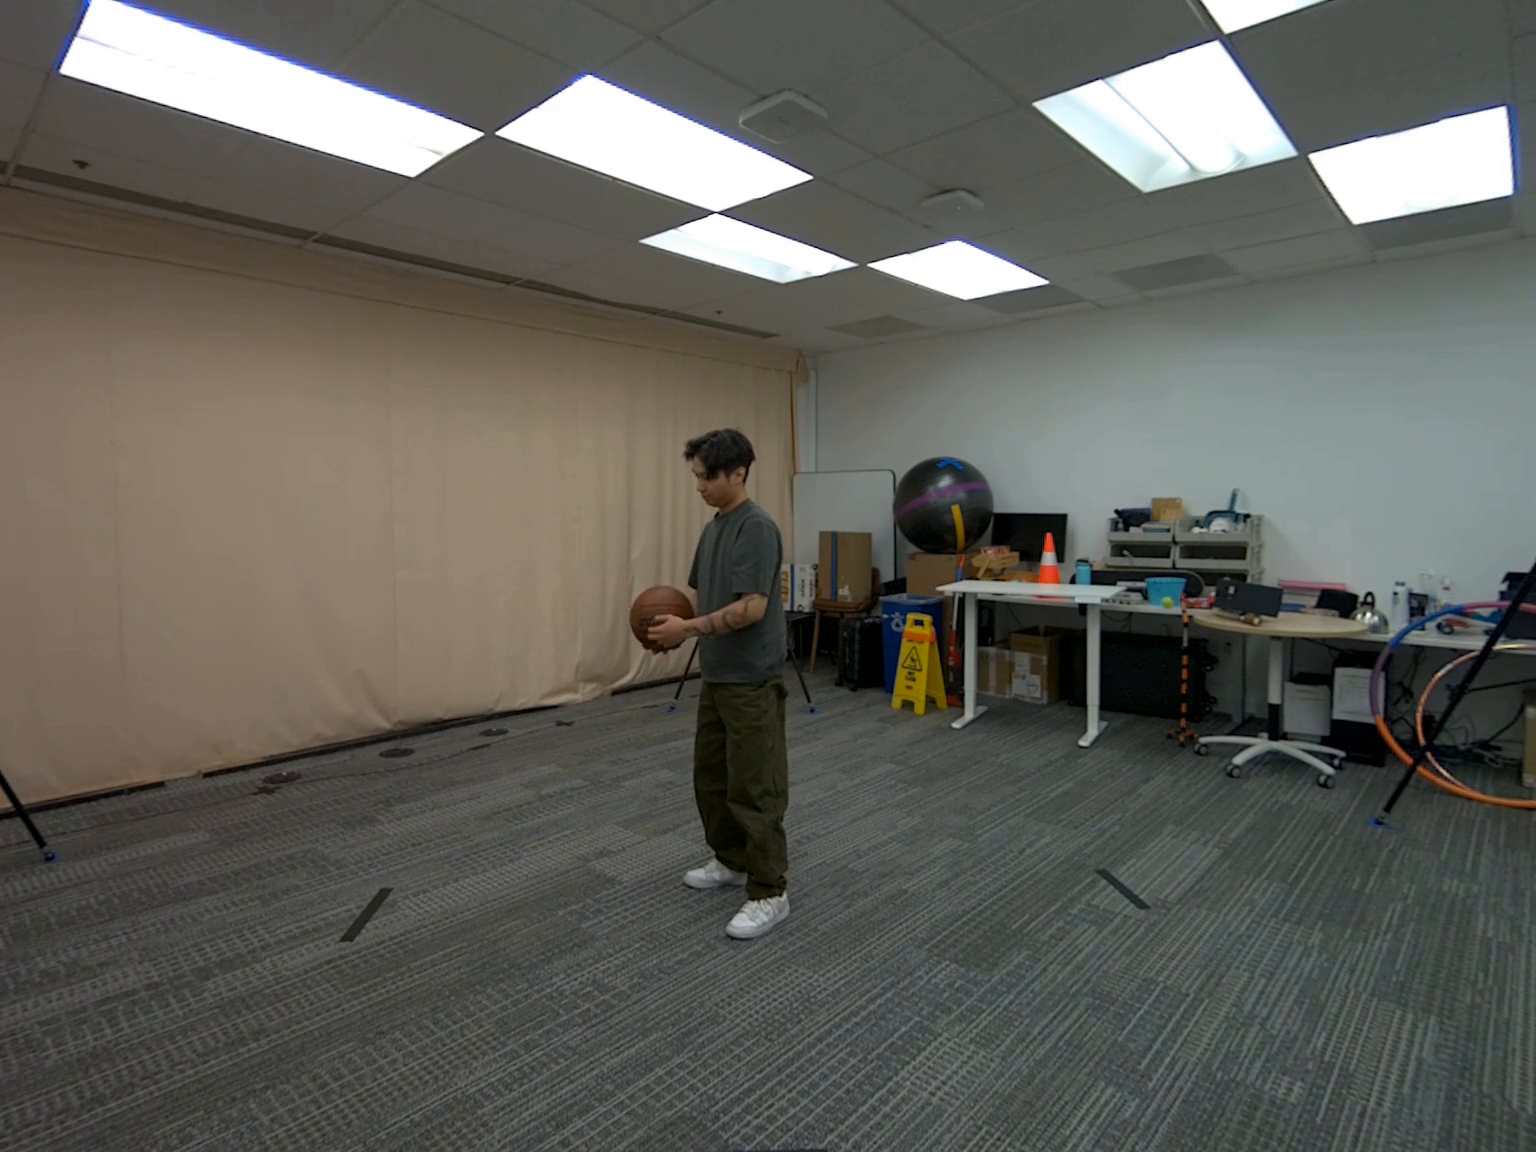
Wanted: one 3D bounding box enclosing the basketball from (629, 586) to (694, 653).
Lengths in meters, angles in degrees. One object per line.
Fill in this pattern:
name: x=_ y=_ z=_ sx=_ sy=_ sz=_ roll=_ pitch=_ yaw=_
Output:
basketball: x=-0.387 y=0.156 z=3.103 sx=0.236 sy=0.235 sz=0.237 roll=0 pitch=4 yaw=-2
